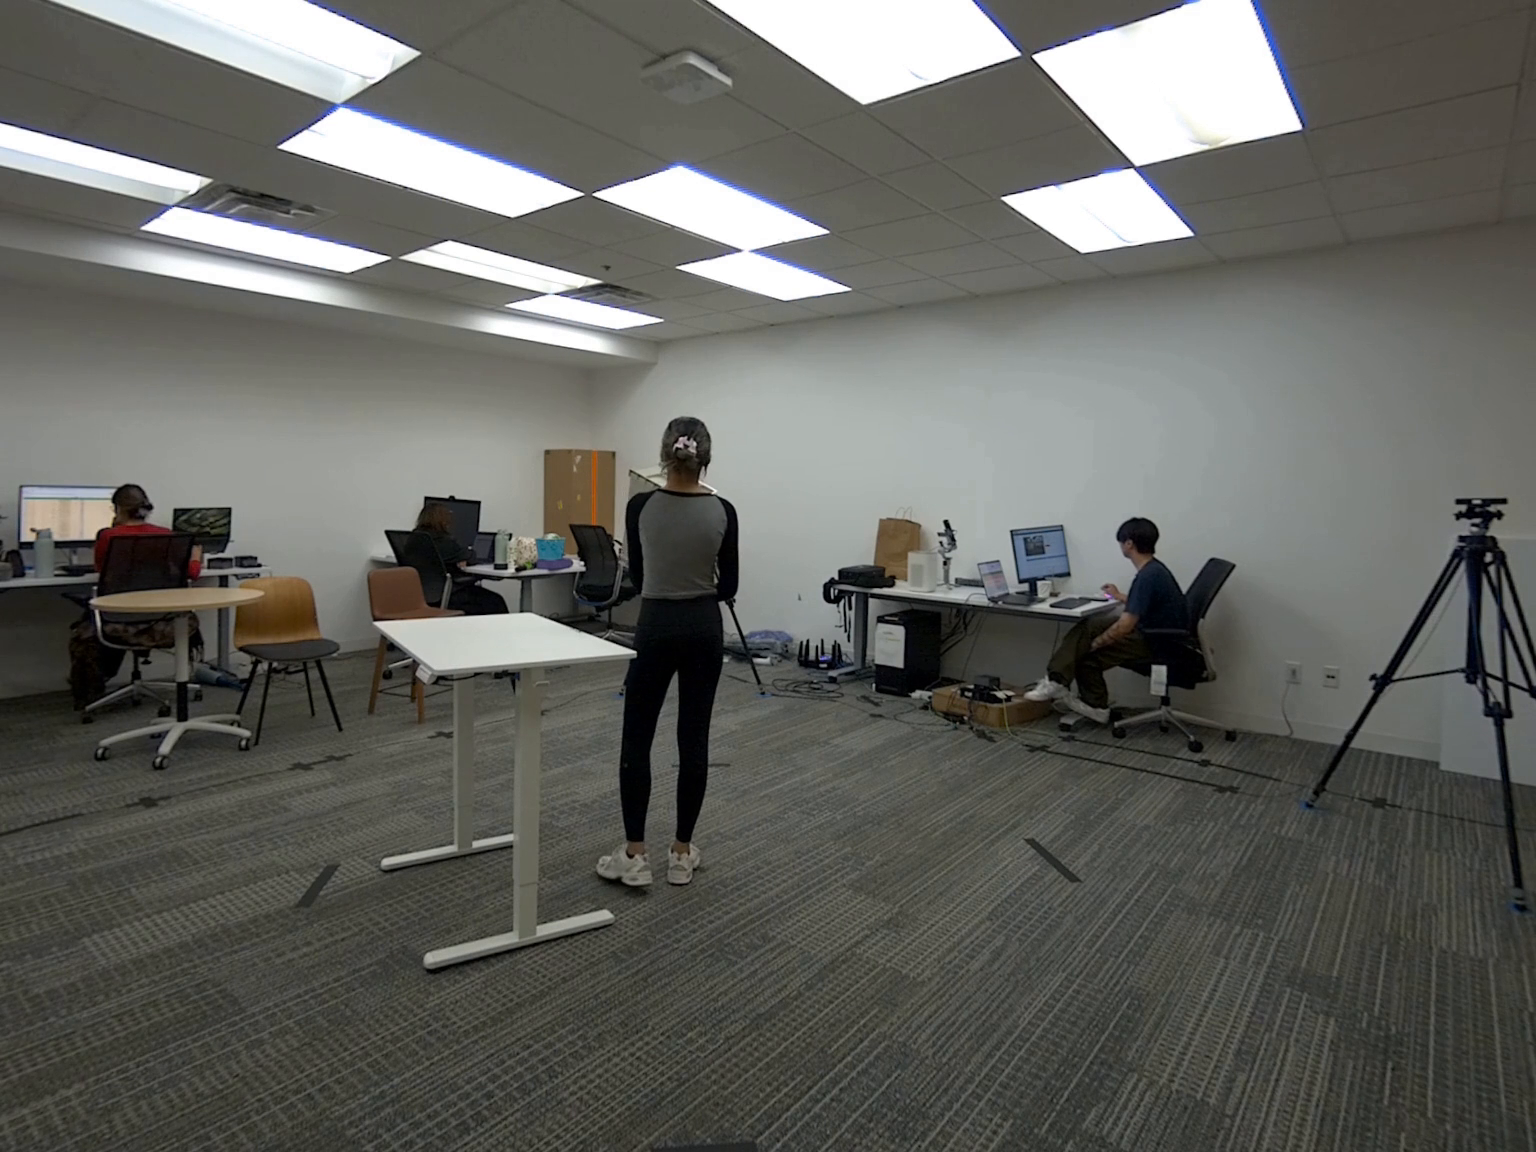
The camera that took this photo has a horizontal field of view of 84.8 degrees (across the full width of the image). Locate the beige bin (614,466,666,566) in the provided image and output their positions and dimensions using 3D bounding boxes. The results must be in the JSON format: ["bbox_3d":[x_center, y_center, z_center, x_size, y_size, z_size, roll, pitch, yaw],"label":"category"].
[{"bbox_3d":[-0.405,-0.190,3.396,0.393,0.415,0.185,30,31,36],"label":"beige bin"}]
